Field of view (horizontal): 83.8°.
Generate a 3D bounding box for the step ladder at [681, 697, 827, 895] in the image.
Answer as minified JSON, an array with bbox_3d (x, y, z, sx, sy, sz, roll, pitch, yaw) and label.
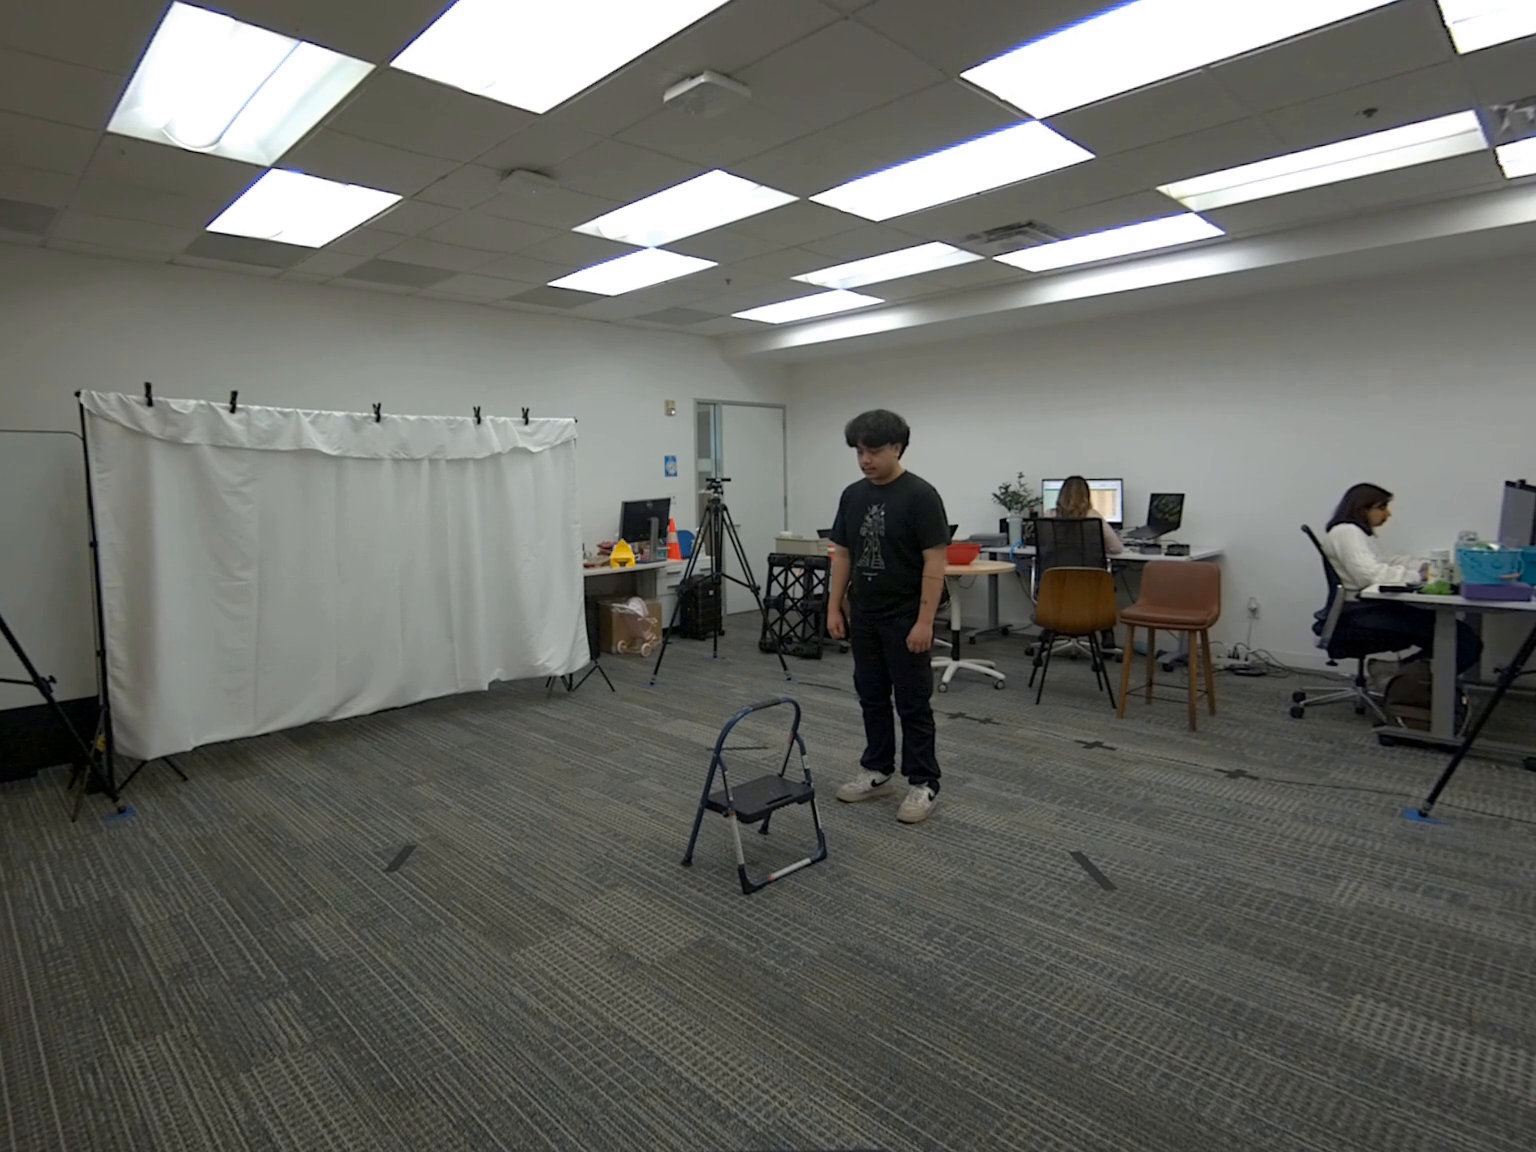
[{"bbox_3d":[-0.050,0.738,3.104,0.419,0.604,0.360,-5,6,-44],"label":"step ladder"}]
